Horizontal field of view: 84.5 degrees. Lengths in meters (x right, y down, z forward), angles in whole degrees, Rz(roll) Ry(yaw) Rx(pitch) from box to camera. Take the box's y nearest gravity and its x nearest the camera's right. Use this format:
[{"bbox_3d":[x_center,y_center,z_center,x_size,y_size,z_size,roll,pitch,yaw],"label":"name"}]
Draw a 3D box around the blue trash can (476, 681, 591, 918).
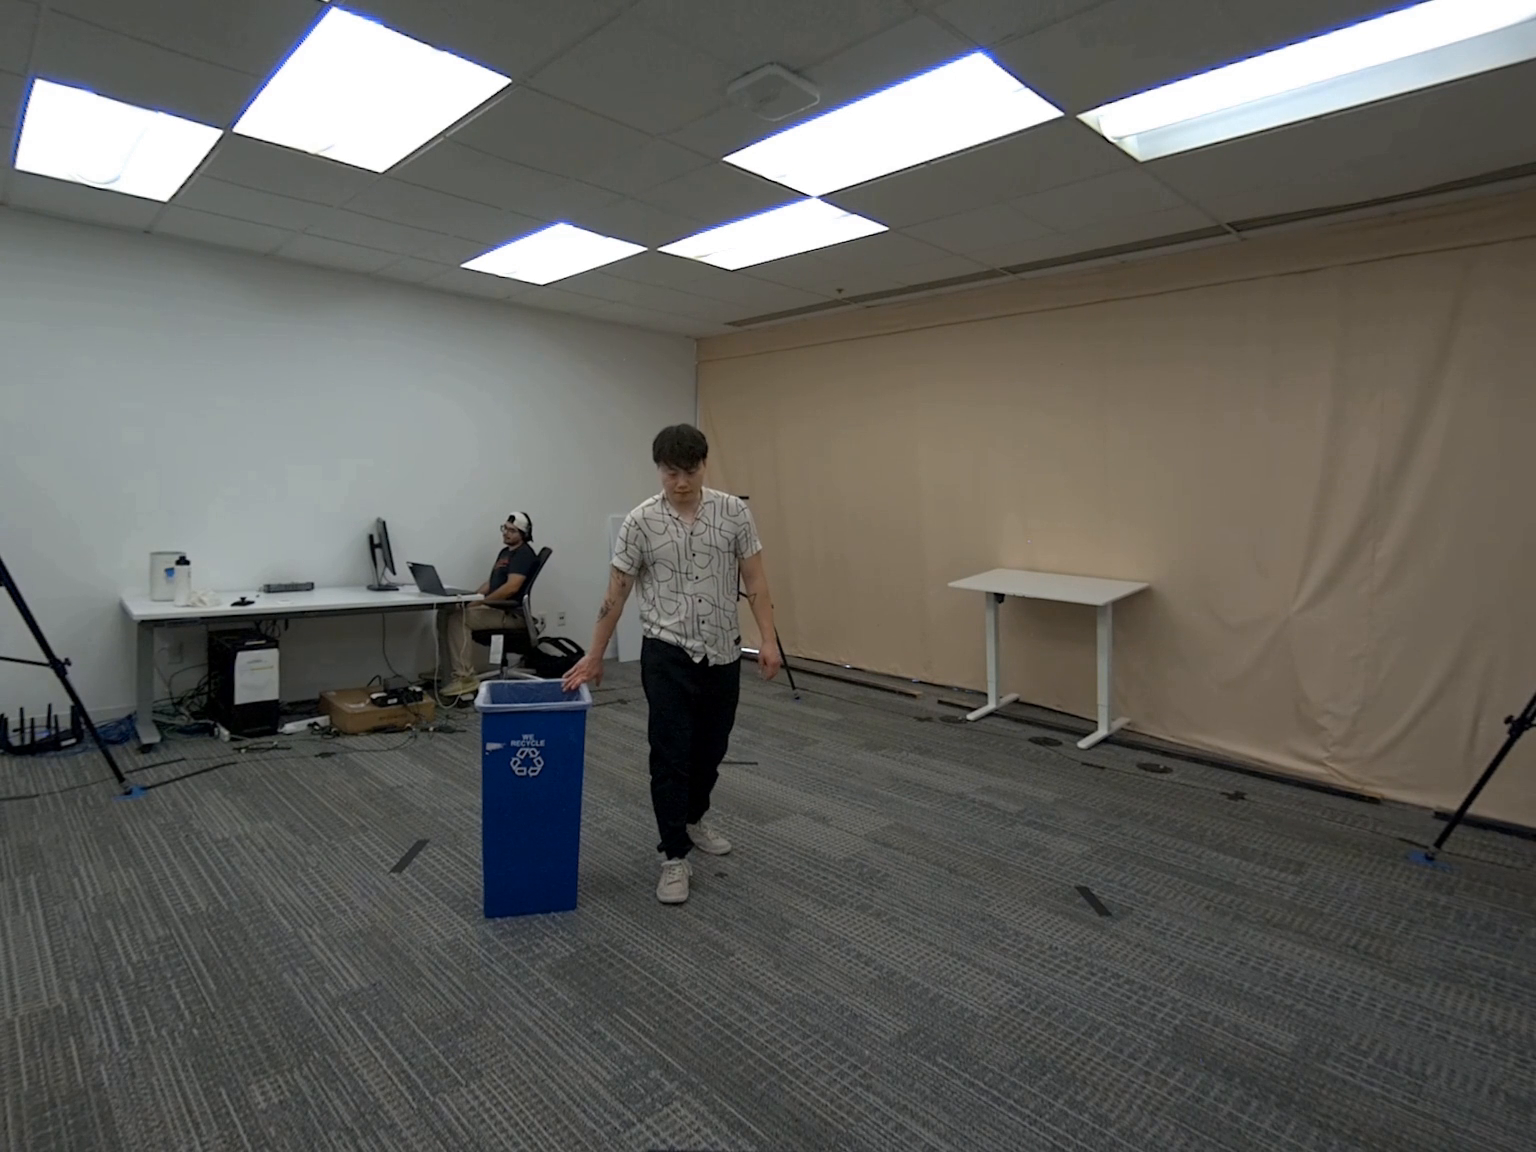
[{"bbox_3d":[-0.814,0.750,2.905,0.369,0.712,0.384,0,4,-16],"label":"blue trash can"}]
